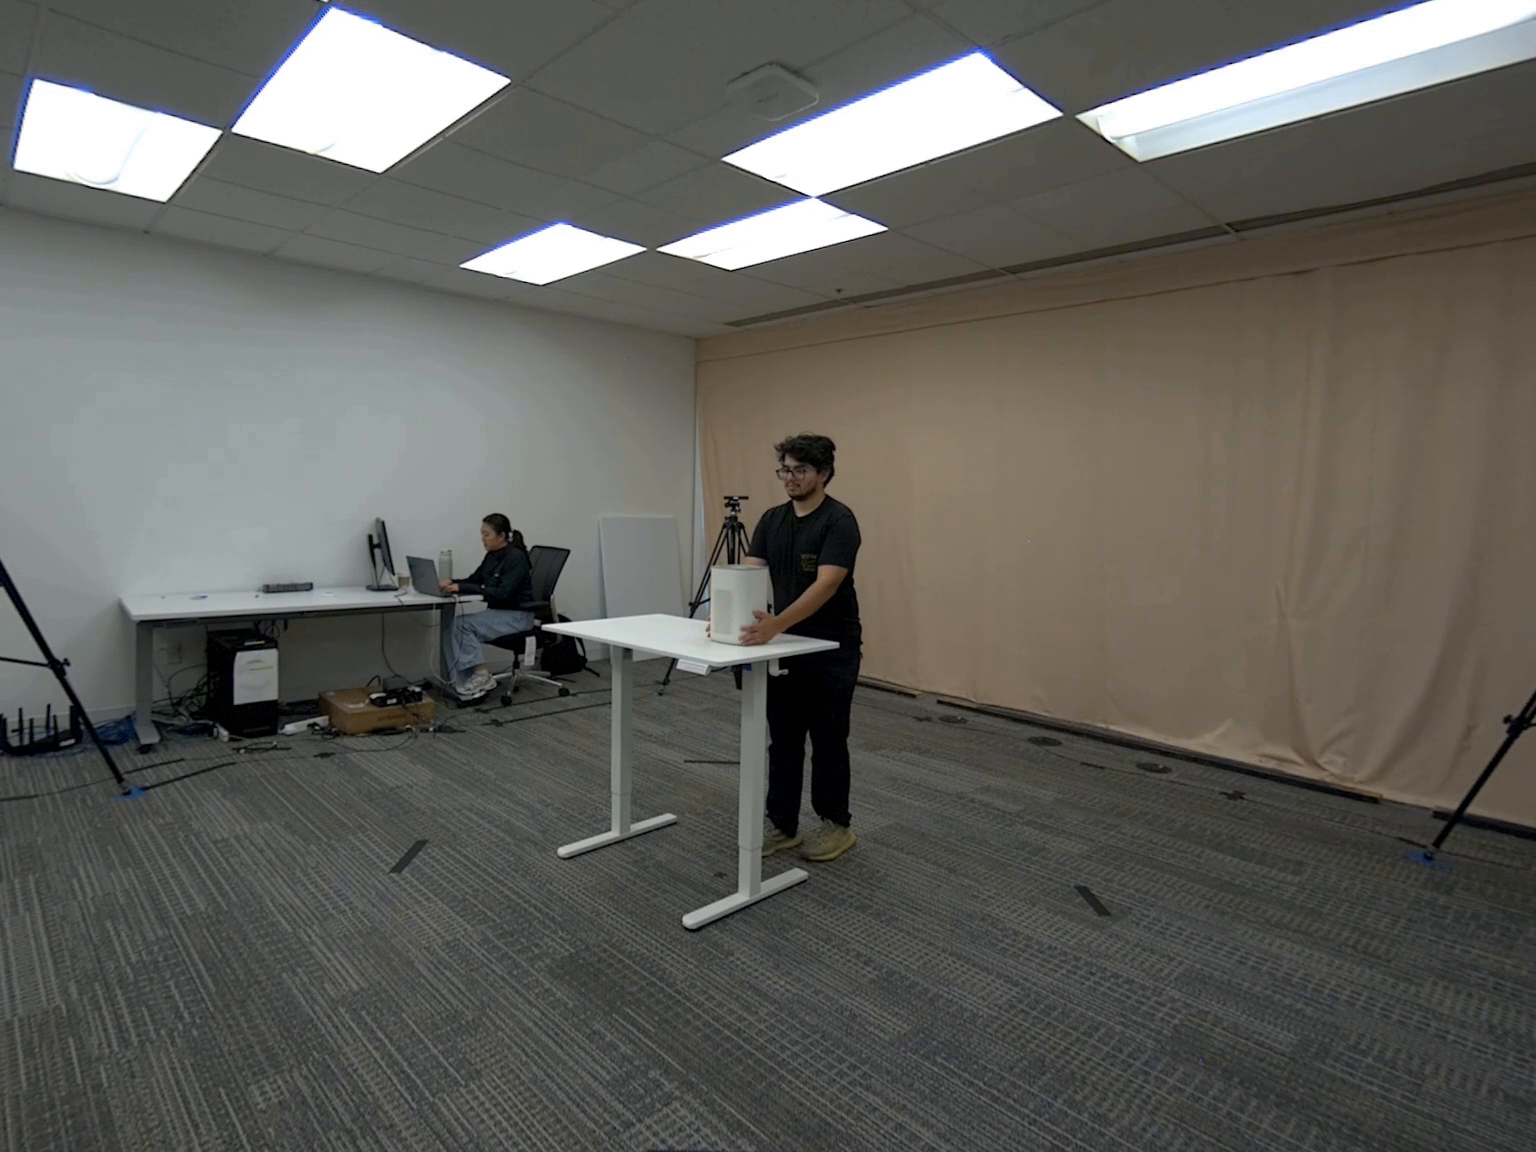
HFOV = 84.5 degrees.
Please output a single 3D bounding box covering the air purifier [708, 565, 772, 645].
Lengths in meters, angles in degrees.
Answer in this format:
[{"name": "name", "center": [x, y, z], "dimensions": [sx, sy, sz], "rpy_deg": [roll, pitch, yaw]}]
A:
[{"name": "air purifier", "center": [-0.108, 0.098, 2.955], "dimensions": [0.176, 0.265, 0.167], "rpy_deg": [4, 3, 42]}]
